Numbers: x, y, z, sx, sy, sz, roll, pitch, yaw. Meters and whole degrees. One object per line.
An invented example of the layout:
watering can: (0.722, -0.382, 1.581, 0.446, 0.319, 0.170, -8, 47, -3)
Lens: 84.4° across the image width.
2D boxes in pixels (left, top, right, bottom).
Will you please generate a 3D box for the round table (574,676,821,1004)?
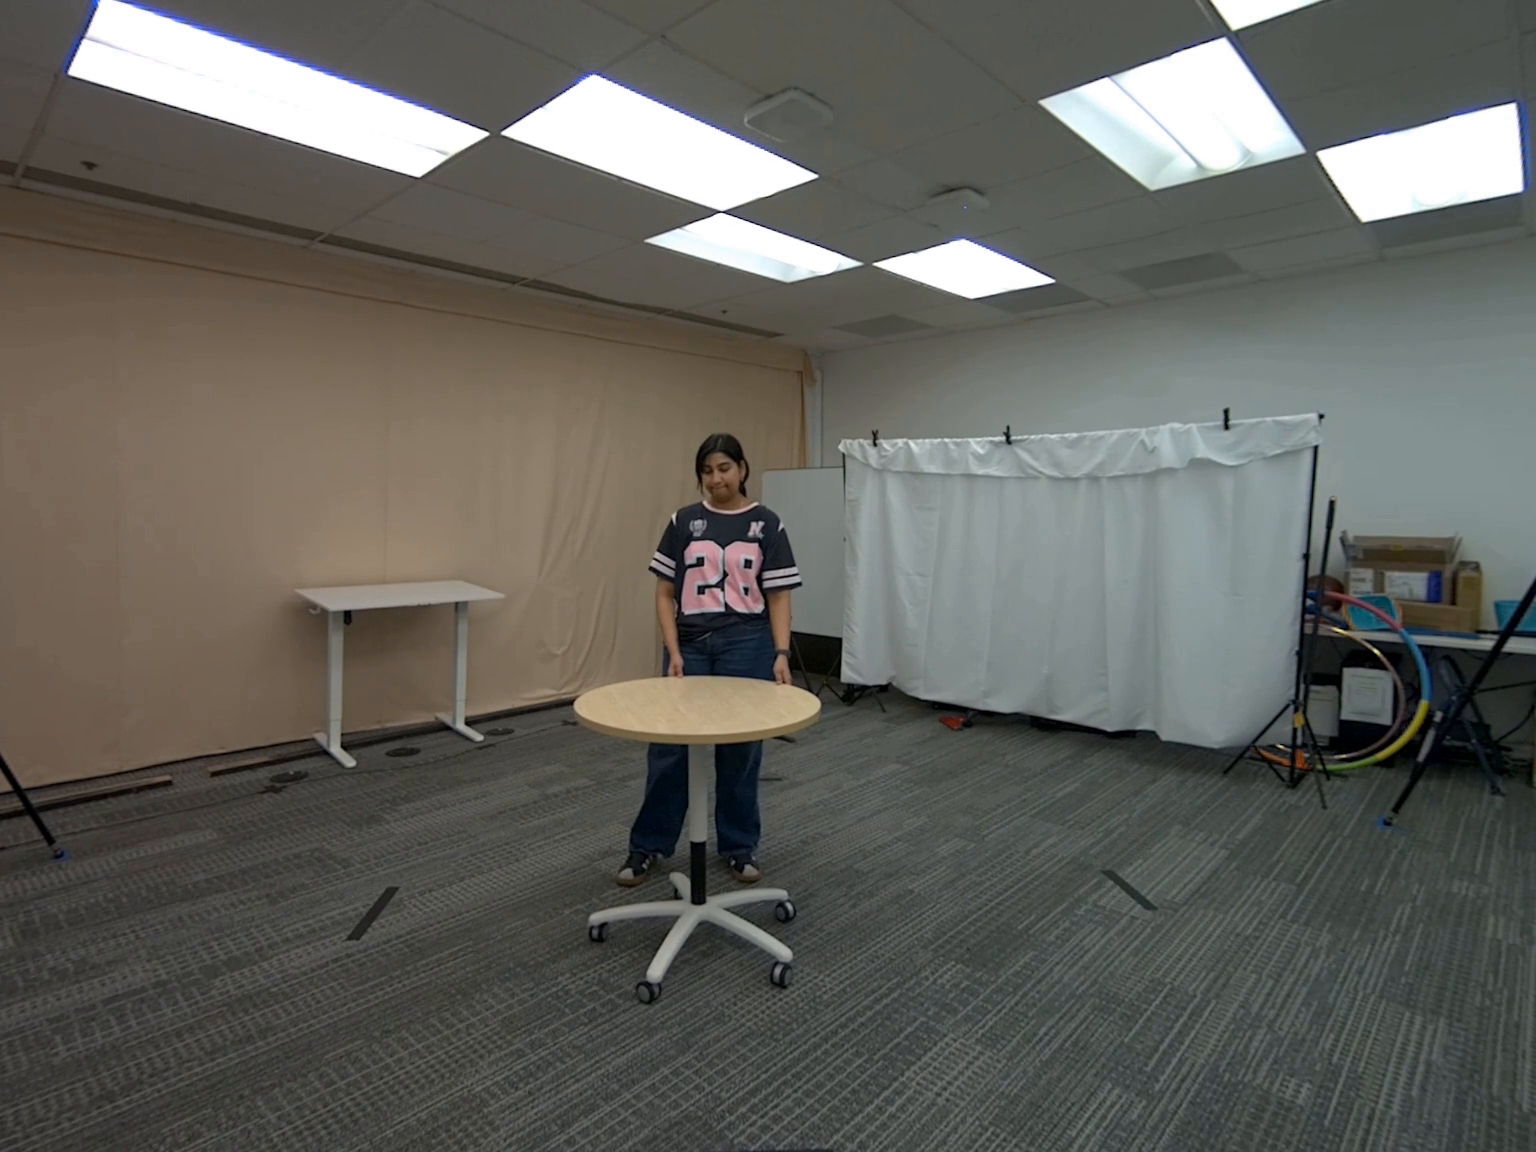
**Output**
round table: (-0.216, 0.781, 2.652, 0.763, 0.792, 0.767, 0, 4, -2)
